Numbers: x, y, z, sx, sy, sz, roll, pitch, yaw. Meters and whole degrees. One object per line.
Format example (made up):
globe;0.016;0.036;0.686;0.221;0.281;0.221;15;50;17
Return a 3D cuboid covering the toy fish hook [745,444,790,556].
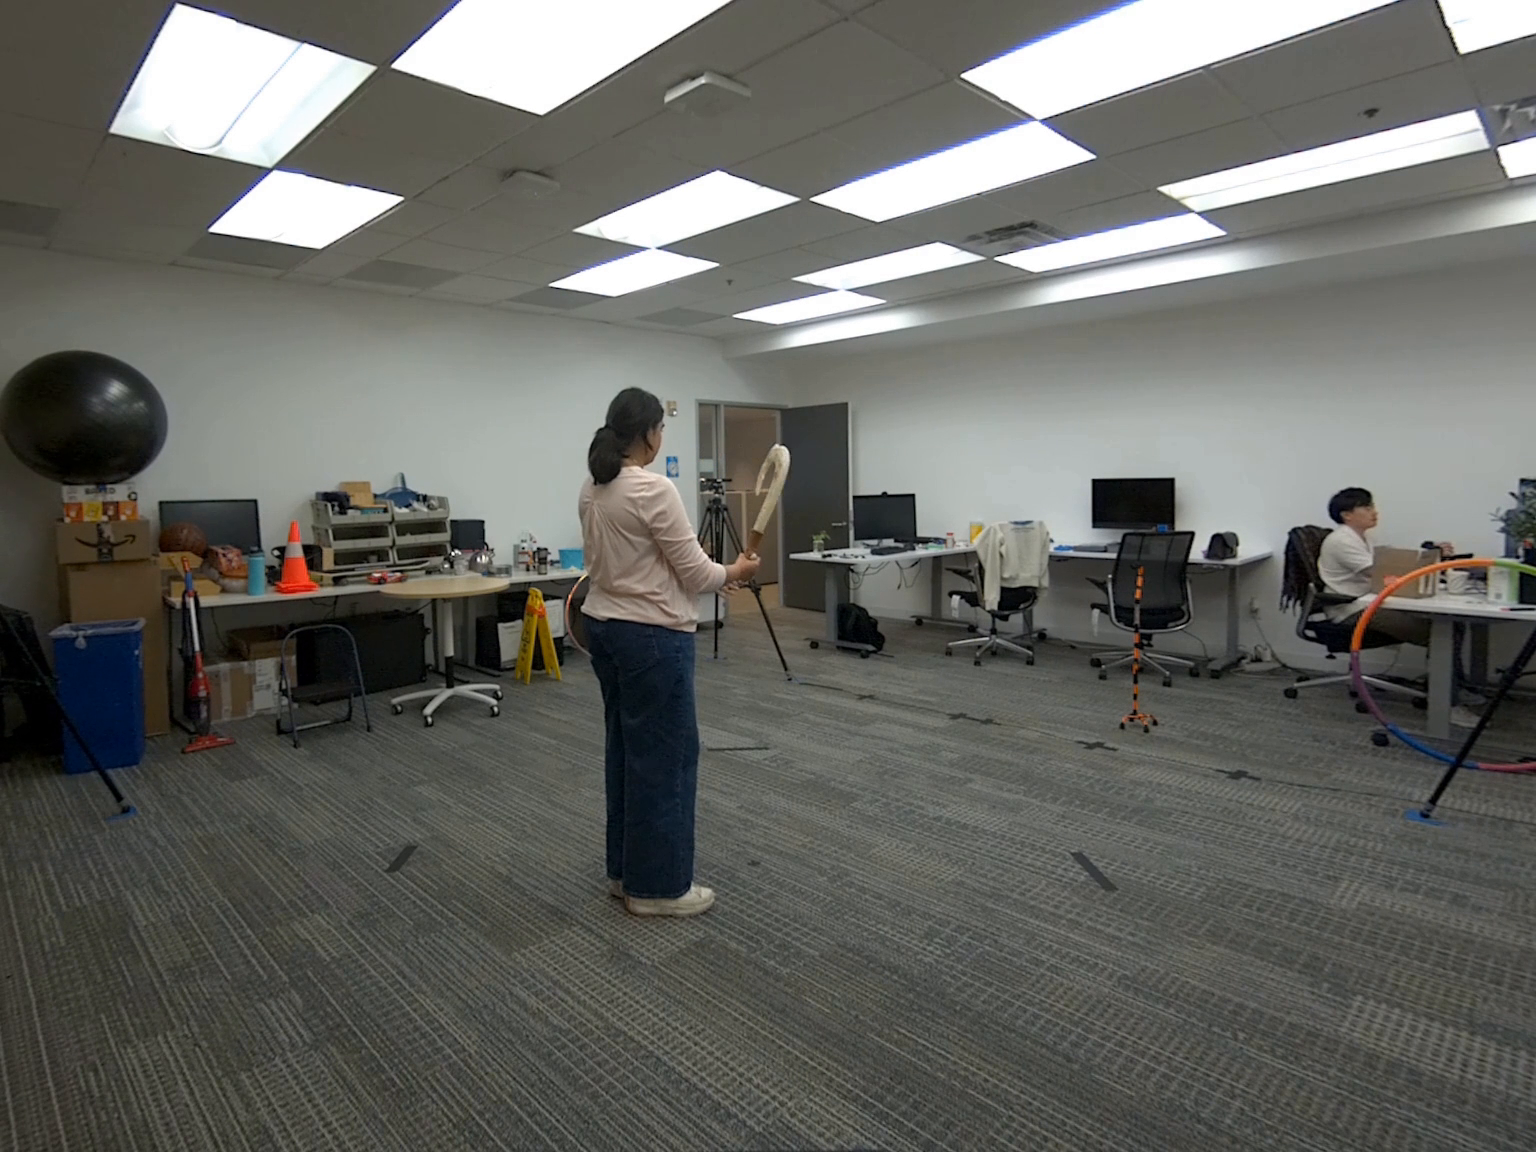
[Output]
toy fish hook;-0.029;-0.215;3.037;0.047;0.505;0.230;16;6;-18
